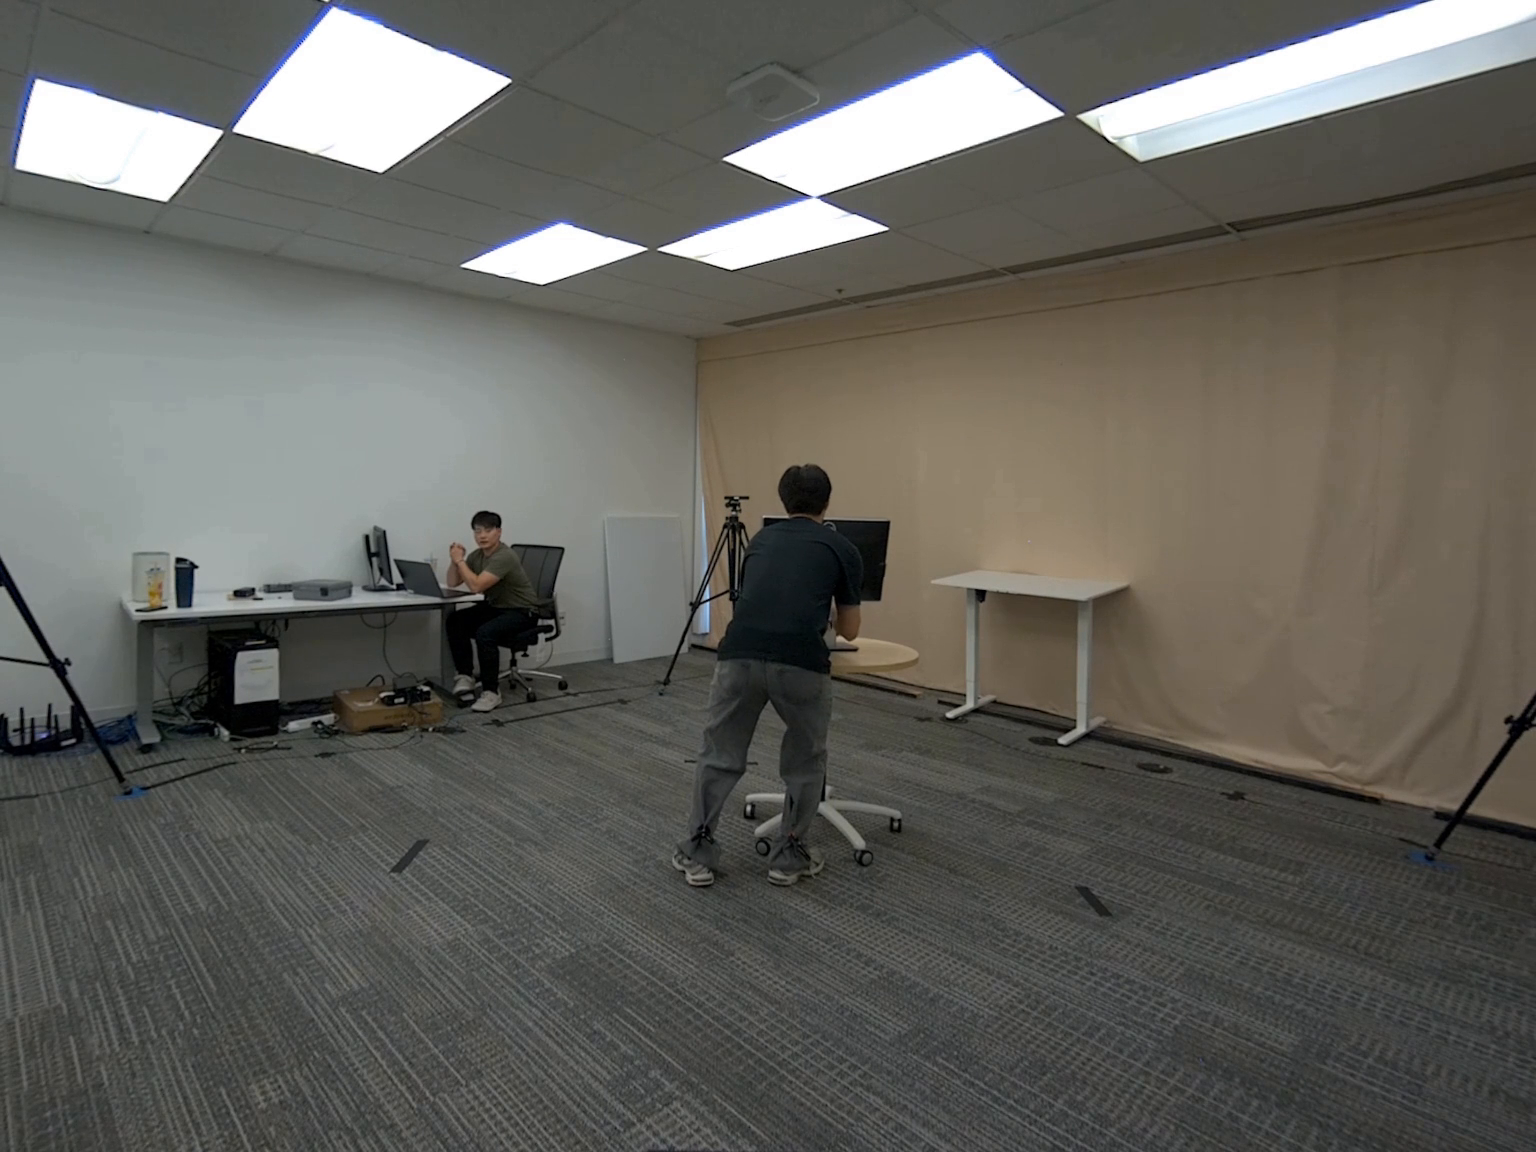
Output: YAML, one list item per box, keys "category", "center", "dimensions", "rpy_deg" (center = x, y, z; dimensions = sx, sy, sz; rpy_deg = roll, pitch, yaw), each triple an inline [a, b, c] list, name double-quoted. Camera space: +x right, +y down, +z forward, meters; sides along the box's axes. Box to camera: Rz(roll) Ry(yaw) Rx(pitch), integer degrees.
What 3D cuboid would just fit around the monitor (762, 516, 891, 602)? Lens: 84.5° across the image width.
- category: "monitor"
  center: [0.233, 0.035, 3.500]
  dimensions: [0.556, 0.566, 0.224]
  rpy_deg: [1, -1, -12]
